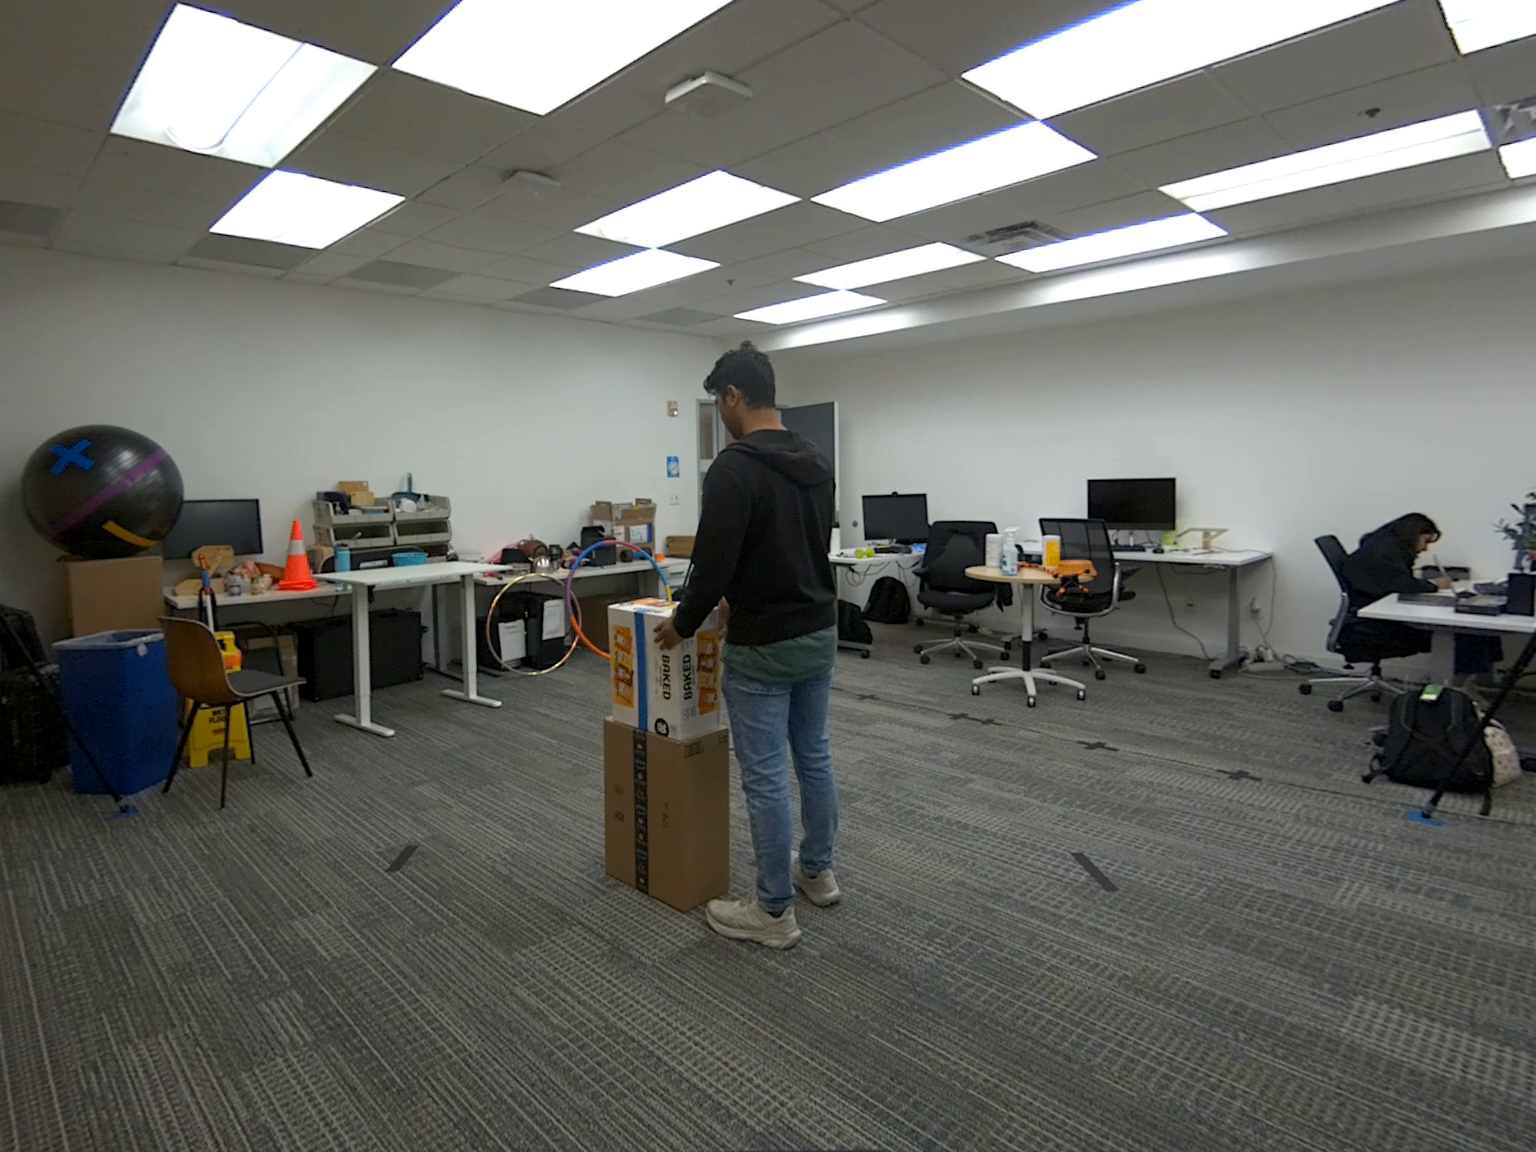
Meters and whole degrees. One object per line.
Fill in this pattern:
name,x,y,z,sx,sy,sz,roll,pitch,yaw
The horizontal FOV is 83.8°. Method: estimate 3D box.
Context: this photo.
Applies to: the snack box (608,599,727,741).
snack box,-0.349,0.304,2.906,0.351,0.403,0.200,4,8,43
